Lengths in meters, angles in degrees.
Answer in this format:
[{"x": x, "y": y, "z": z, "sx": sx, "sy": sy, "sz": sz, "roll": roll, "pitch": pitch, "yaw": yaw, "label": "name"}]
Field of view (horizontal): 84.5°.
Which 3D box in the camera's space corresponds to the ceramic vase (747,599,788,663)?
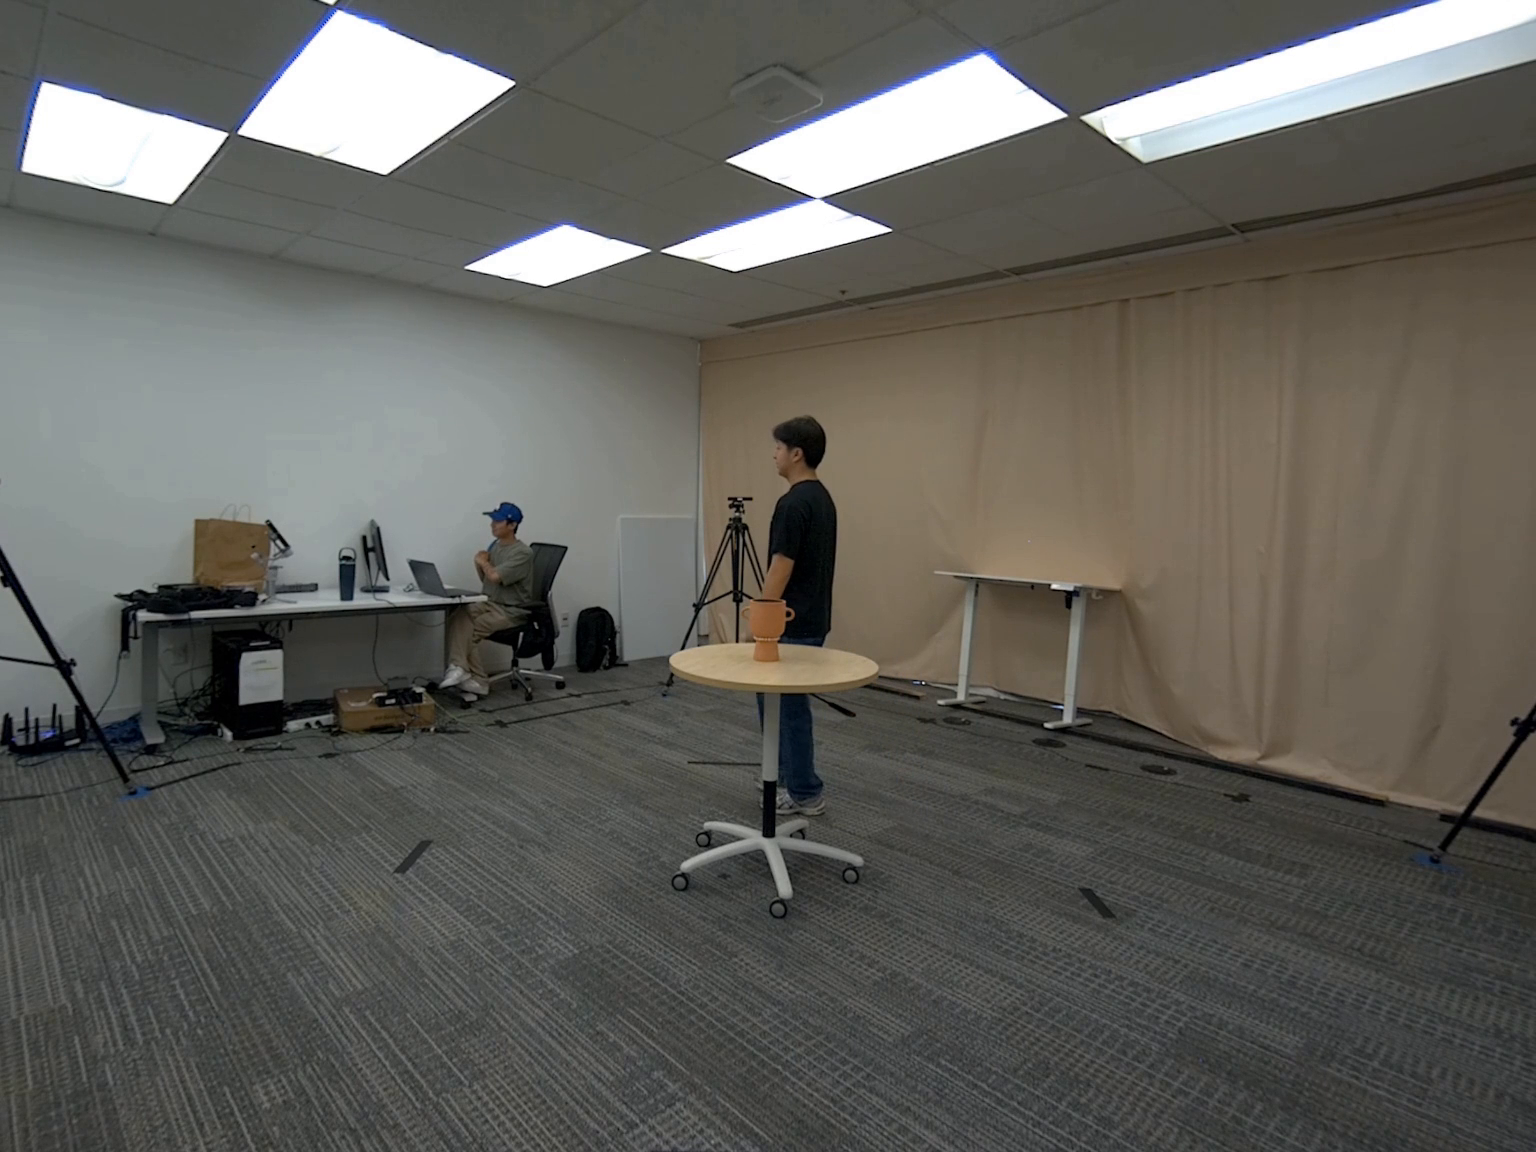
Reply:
[{"x": -0.010, "y": 0.203, "z": 3.127, "sx": 0.163, "sy": 0.219, "sz": 0.132, "roll": 3, "pitch": 4, "yaw": 37, "label": "ceramic vase"}]
